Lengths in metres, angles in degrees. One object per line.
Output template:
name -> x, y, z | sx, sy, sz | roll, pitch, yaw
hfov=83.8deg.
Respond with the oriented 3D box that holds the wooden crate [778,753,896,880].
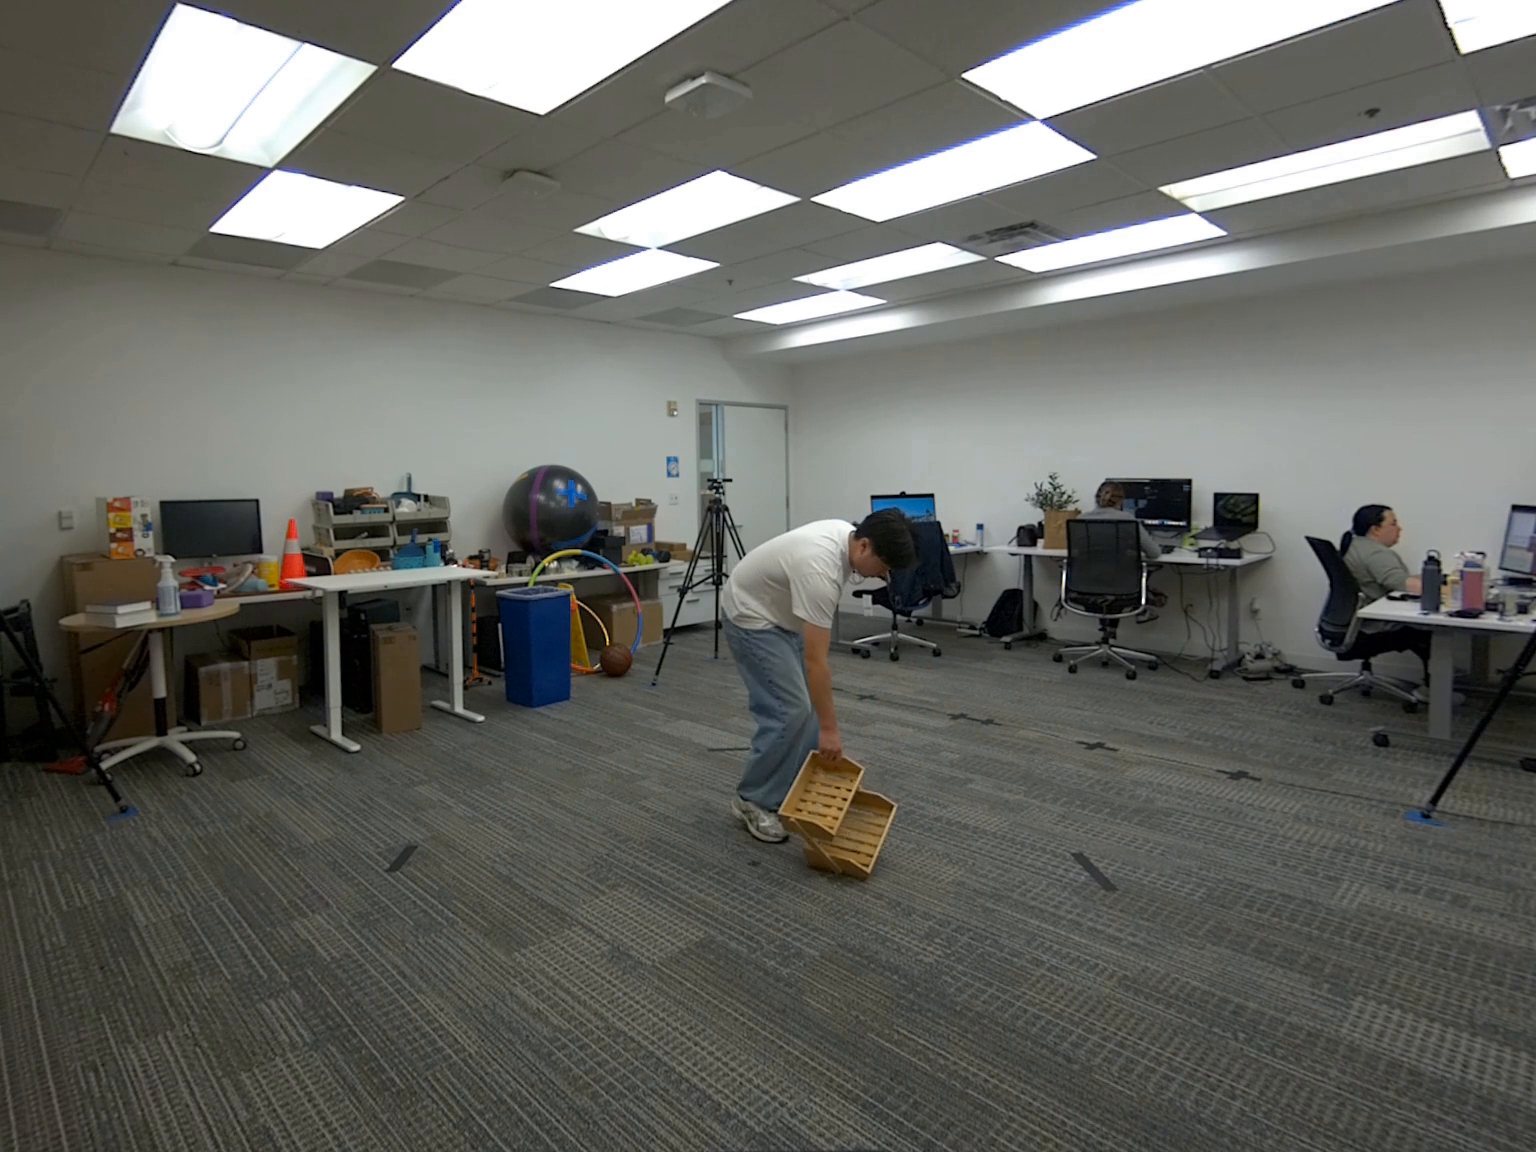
wooden crate -> 0.264, 0.856, 3.067 | 0.310, 0.265, 0.325 | 2, 36, 31
